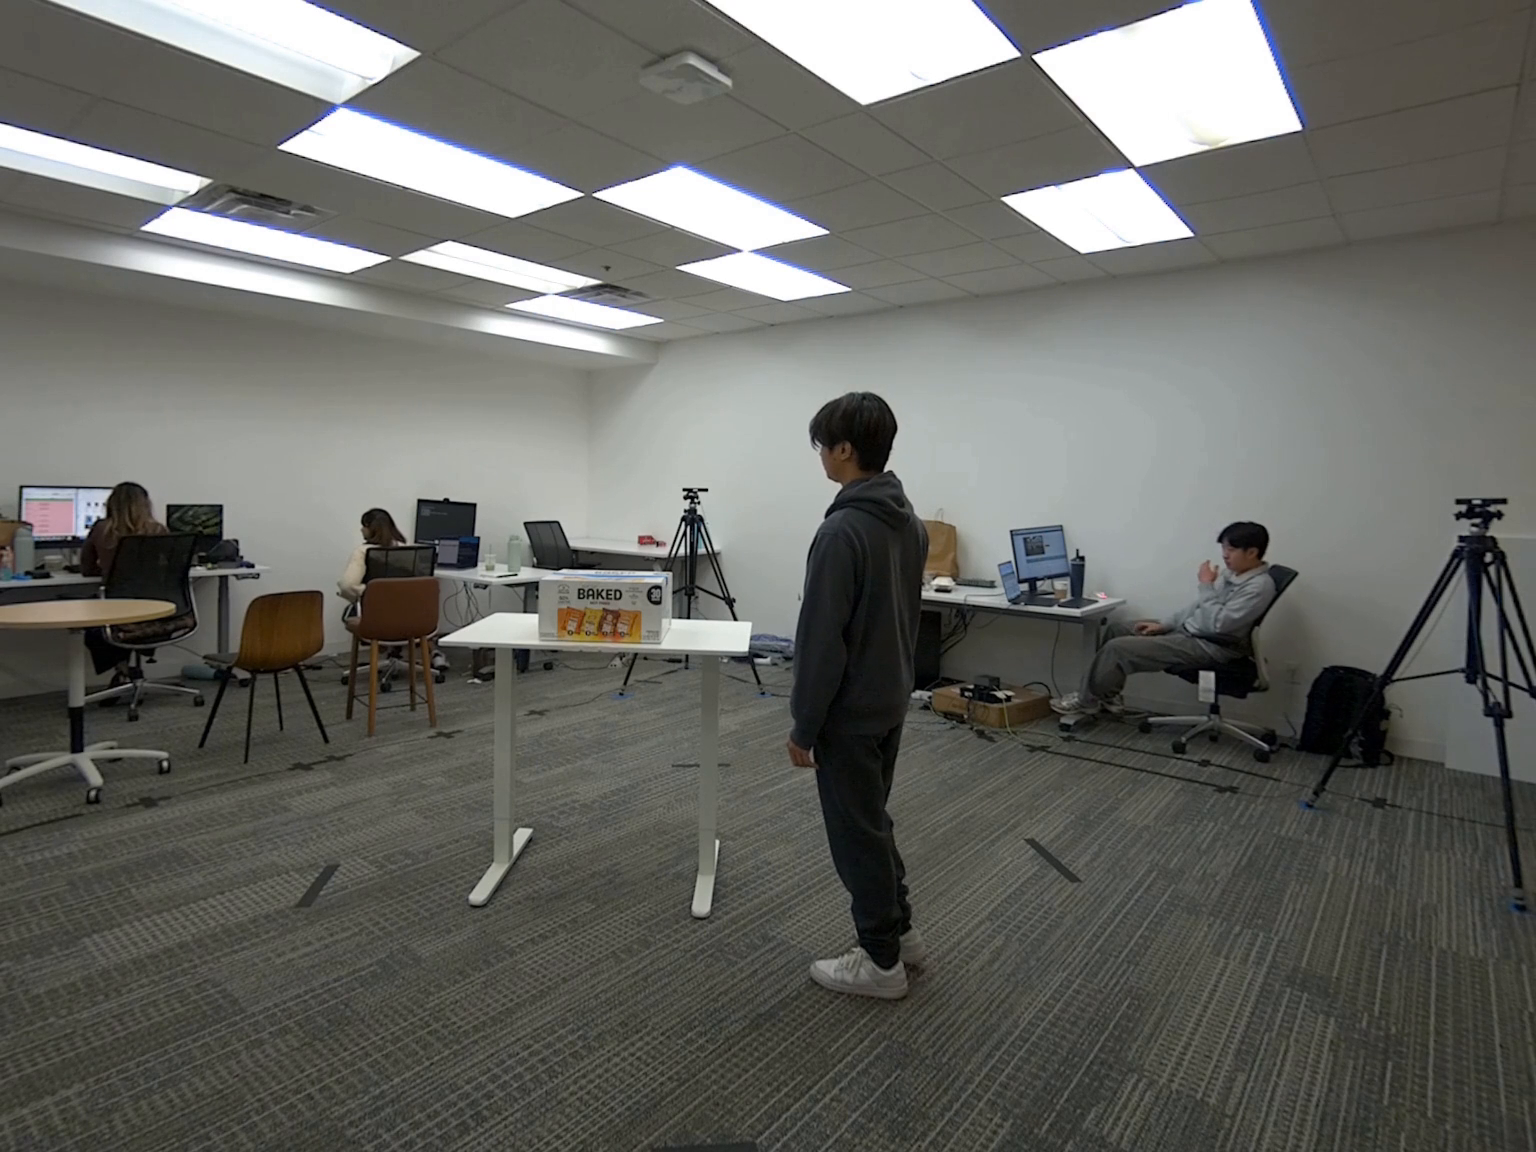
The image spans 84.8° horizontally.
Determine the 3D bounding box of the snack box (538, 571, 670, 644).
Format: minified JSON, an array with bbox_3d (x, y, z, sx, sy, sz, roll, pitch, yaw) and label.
[{"bbox_3d":[-0.562,0.097,2.935,0.406,0.205,0.341,2,6,1],"label":"snack box"}]
